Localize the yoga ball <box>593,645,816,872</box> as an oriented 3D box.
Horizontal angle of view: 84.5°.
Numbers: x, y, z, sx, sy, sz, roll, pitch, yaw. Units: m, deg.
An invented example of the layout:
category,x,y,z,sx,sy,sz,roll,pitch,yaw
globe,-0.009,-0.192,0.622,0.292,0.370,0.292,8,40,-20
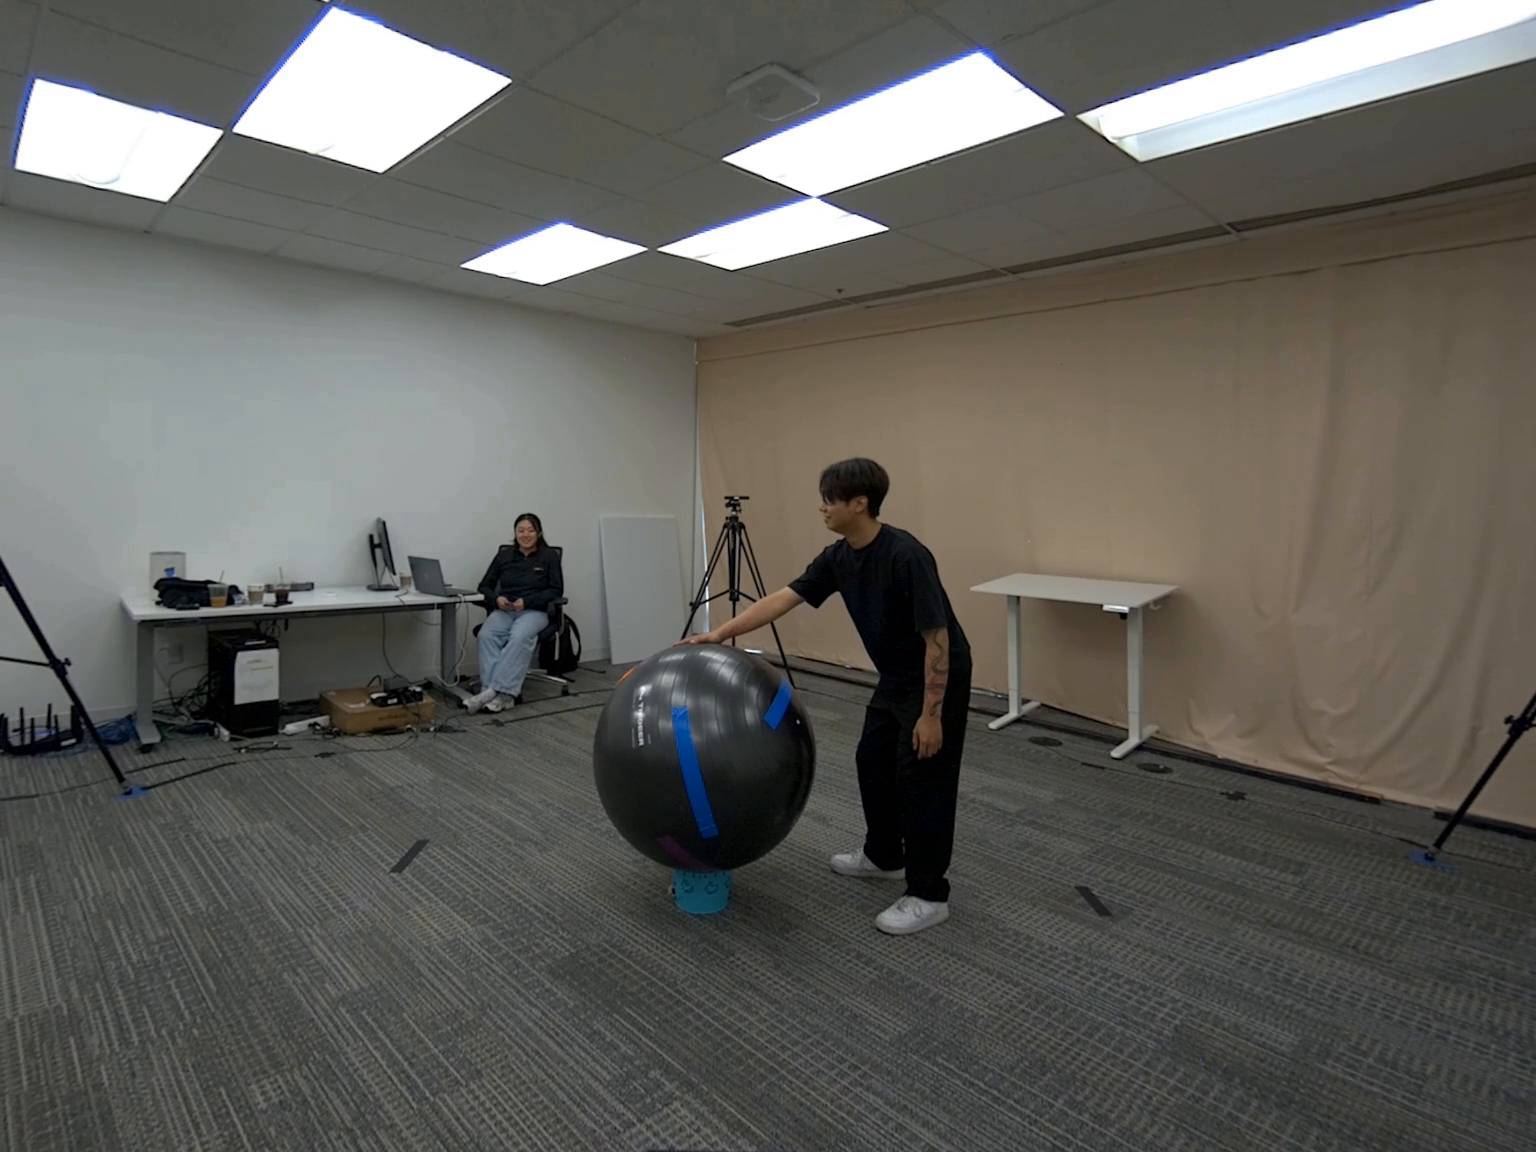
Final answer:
category,x,y,z,sx,sy,sz,roll,pitch,yaw
yoga ball,-0.233,0.616,2.877,0.757,0.756,0.761,1,4,-1
